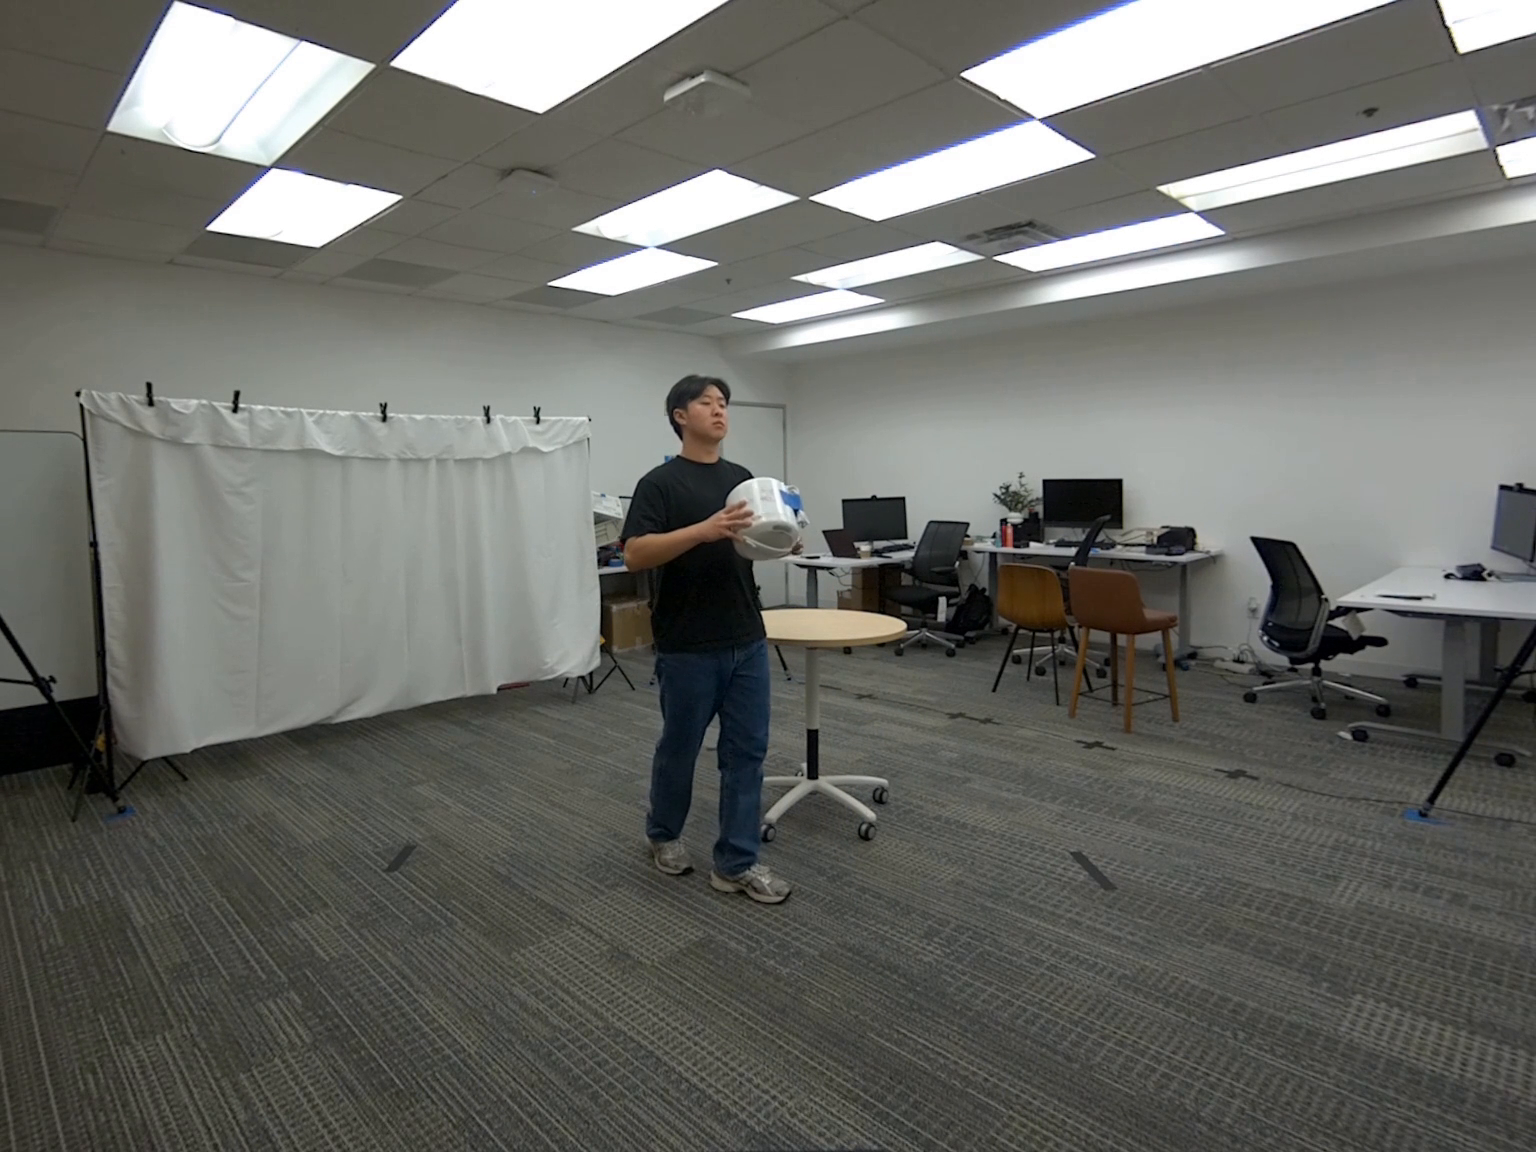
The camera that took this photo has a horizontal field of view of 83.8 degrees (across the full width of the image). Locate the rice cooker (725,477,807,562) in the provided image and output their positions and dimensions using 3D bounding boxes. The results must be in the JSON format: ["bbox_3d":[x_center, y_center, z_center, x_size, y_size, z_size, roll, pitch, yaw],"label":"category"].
[{"bbox_3d":[-0.020,-0.164,2.706,0.214,0.240,0.217,15,-42,-32],"label":"rice cooker"}]
